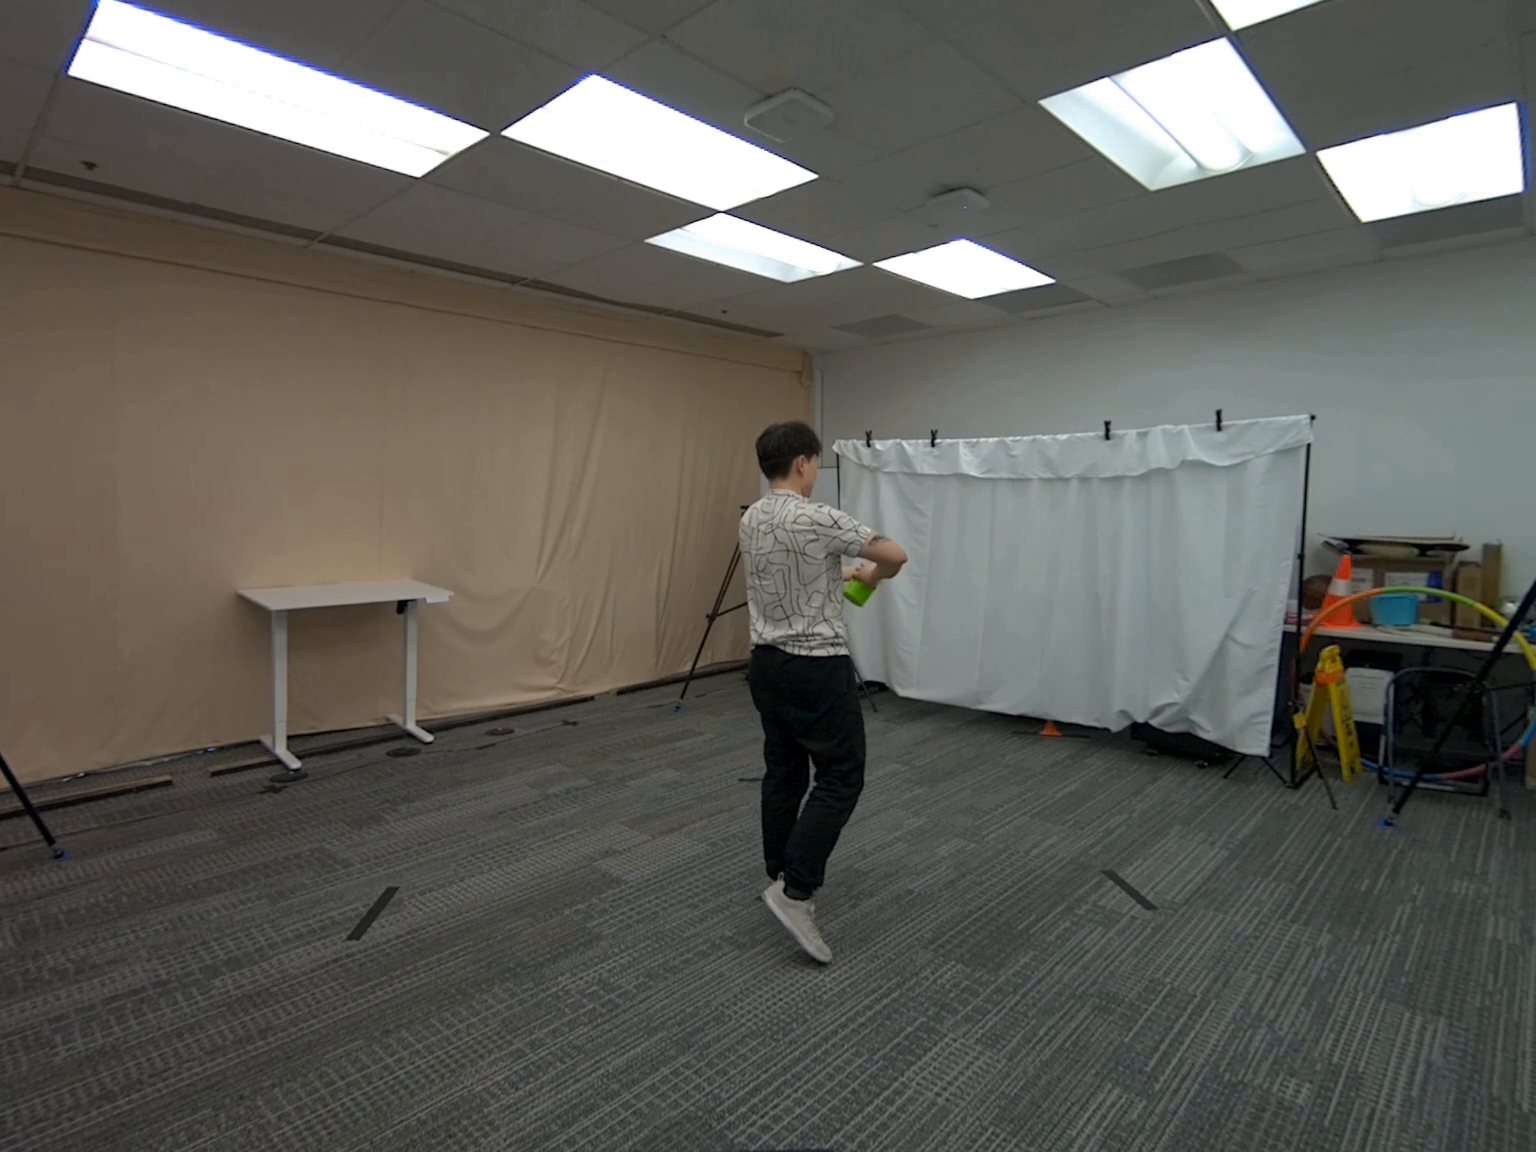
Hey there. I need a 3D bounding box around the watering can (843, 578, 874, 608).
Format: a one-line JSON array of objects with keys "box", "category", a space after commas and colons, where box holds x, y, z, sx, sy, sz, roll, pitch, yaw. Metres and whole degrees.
[{"box": [0.376, 0.029, 3.184, 0.100, 0.176, 0.272, 38, -5, 18], "category": "watering can"}]
